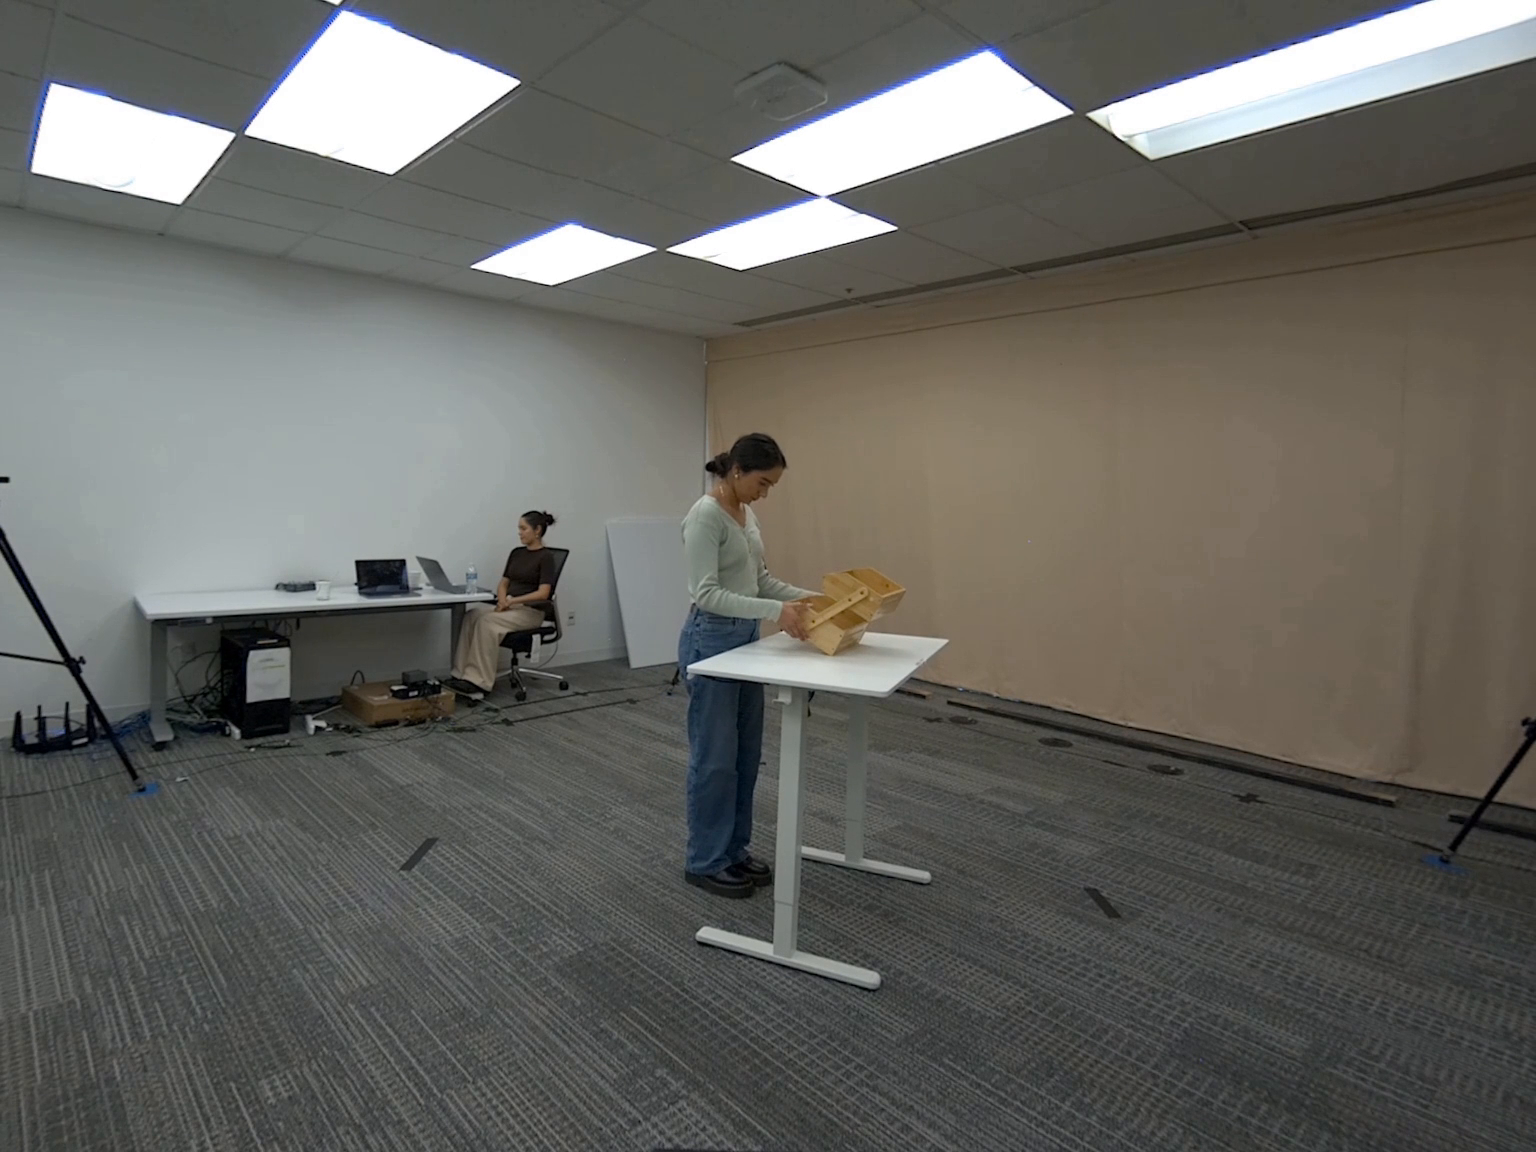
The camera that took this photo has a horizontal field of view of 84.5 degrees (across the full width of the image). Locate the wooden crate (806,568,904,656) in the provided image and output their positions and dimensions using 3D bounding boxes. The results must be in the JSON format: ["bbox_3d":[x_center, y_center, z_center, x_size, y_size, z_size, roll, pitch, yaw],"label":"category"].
[{"bbox_3d":[0.242,0.087,2.876,0.308,0.272,0.319,32,15,19],"label":"wooden crate"}]
